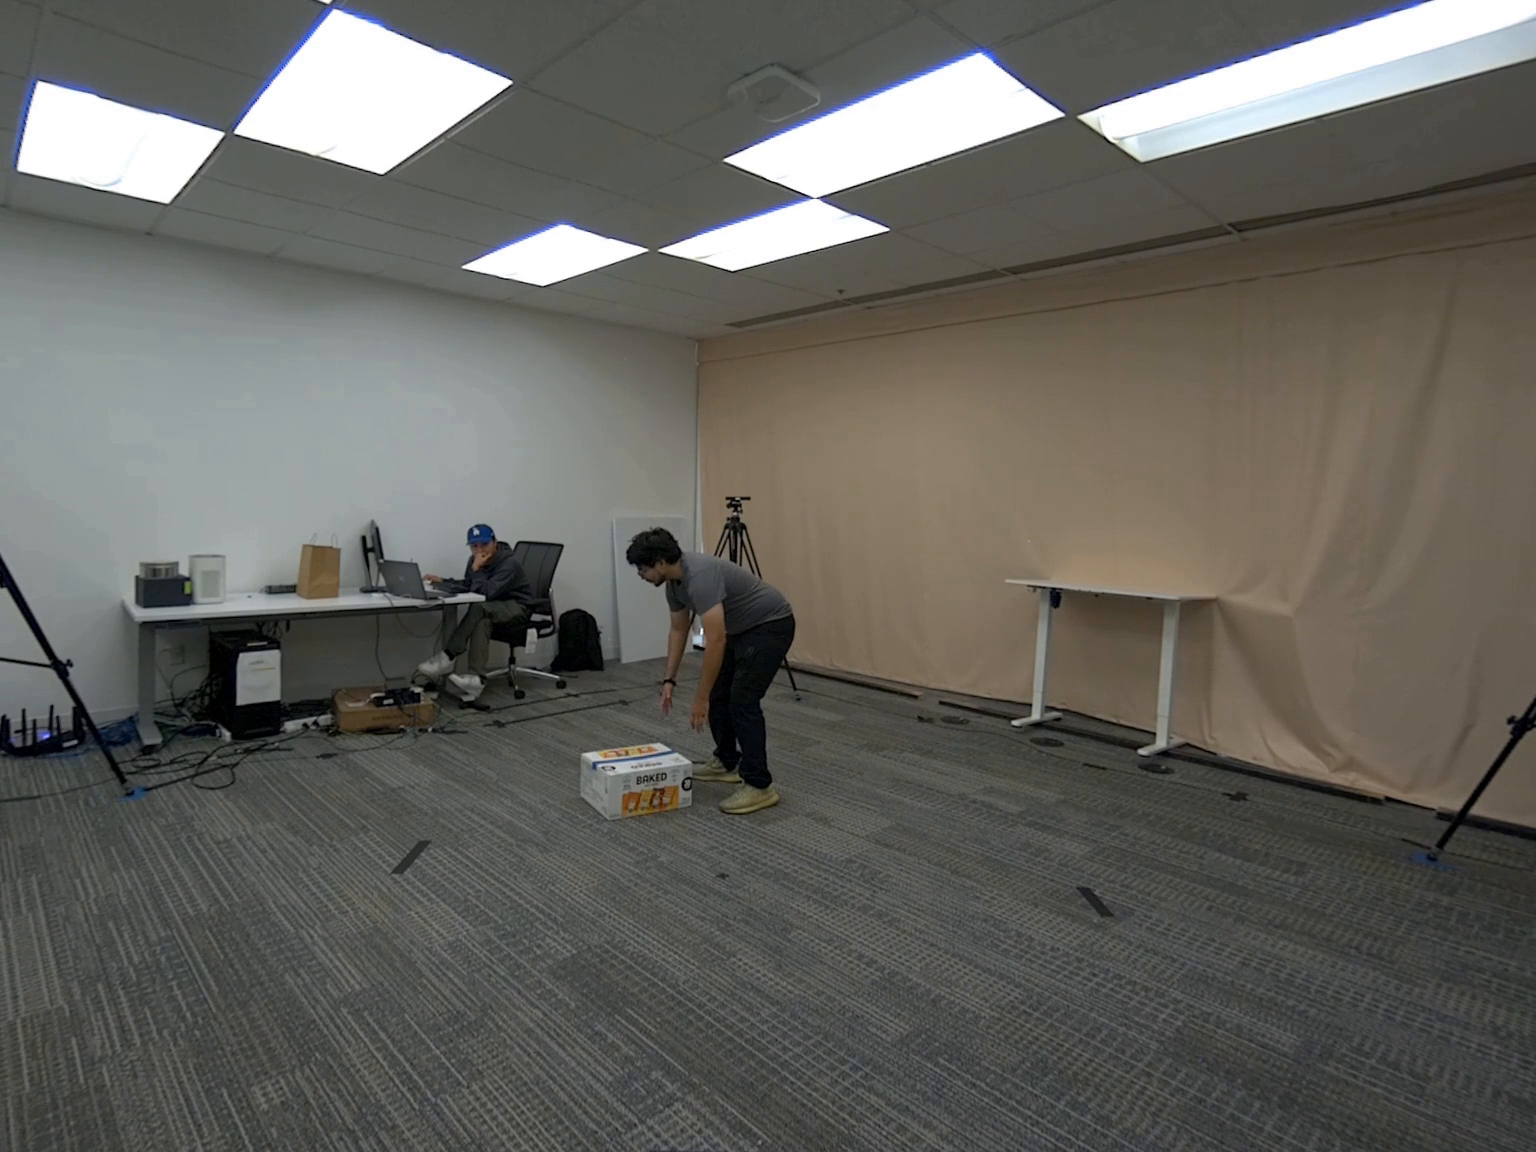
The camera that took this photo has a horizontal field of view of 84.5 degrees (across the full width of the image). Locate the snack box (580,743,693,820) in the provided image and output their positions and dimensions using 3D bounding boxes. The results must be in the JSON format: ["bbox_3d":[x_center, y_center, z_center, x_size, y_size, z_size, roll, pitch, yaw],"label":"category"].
[{"bbox_3d":[-0.613,0.929,3.839,0.397,0.205,0.348,-1,5,-32],"label":"snack box"}]
